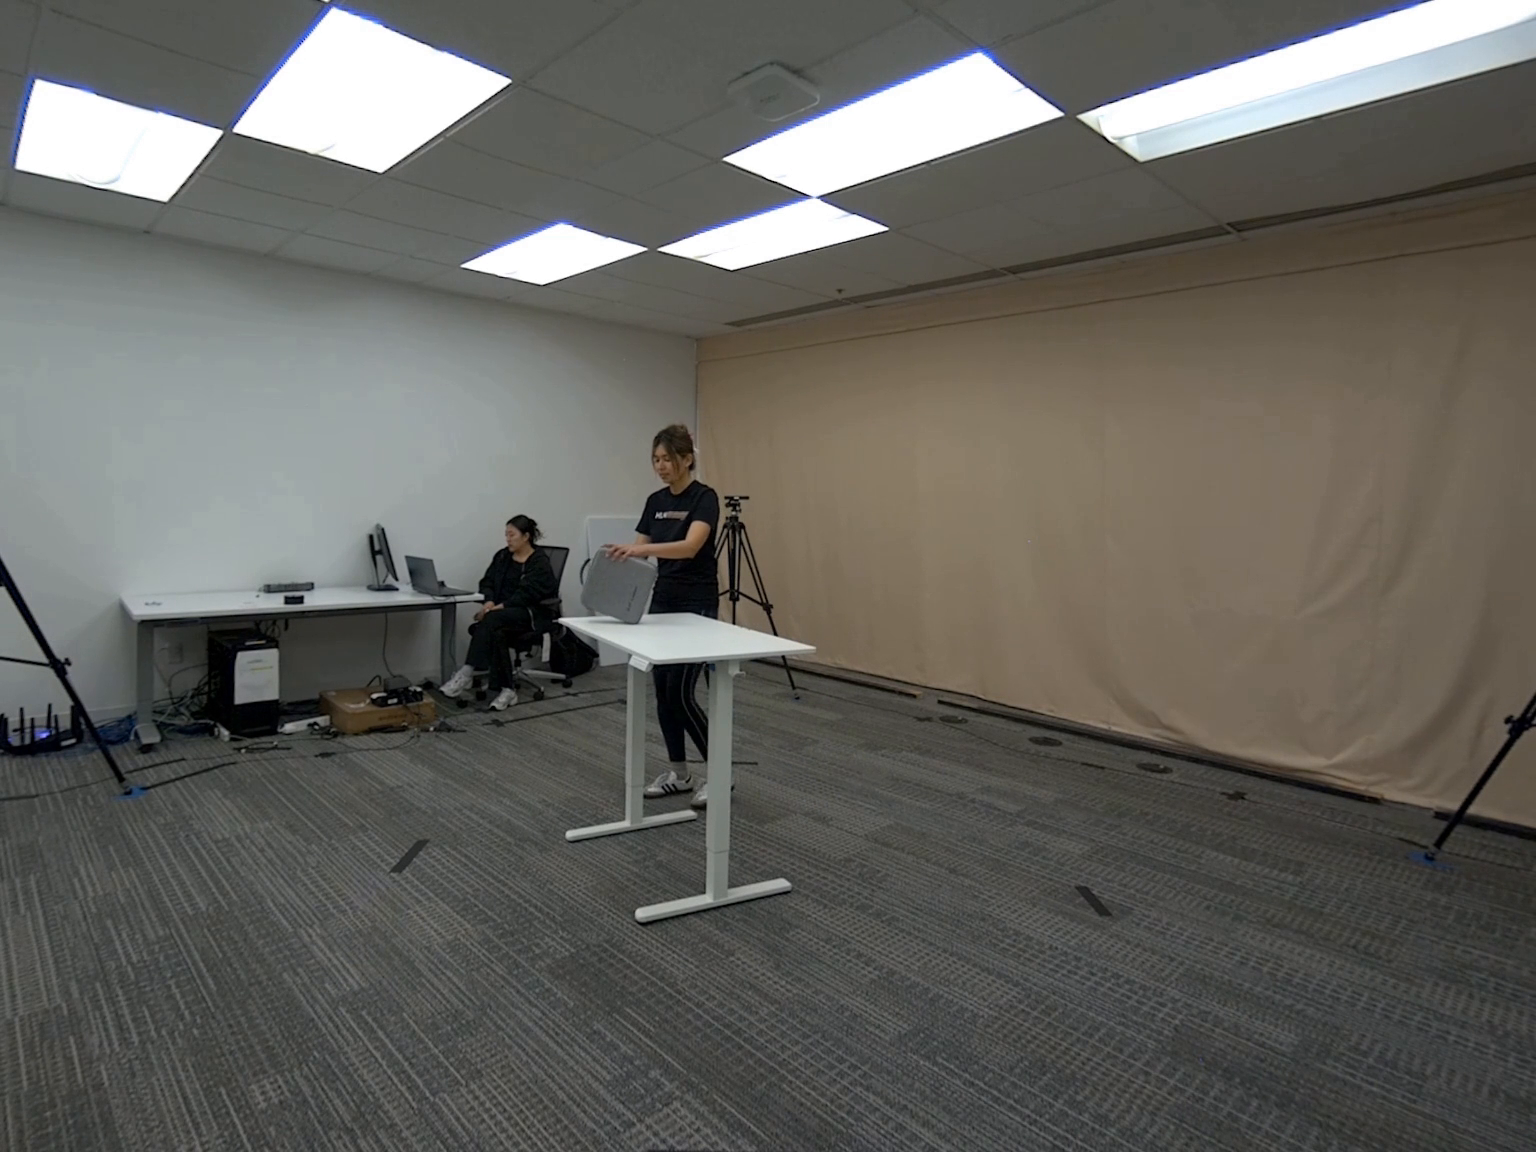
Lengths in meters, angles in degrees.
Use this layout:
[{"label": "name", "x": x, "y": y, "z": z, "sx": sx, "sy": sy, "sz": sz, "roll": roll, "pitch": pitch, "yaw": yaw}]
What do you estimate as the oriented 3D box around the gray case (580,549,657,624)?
[{"label": "gray case", "x": -0.614, "y": 0.041, "z": 3.365, "sx": 0.261, "sy": 0.256, "sz": 0.104, "roll": 16, "pitch": 3, "yaw": 2}]
